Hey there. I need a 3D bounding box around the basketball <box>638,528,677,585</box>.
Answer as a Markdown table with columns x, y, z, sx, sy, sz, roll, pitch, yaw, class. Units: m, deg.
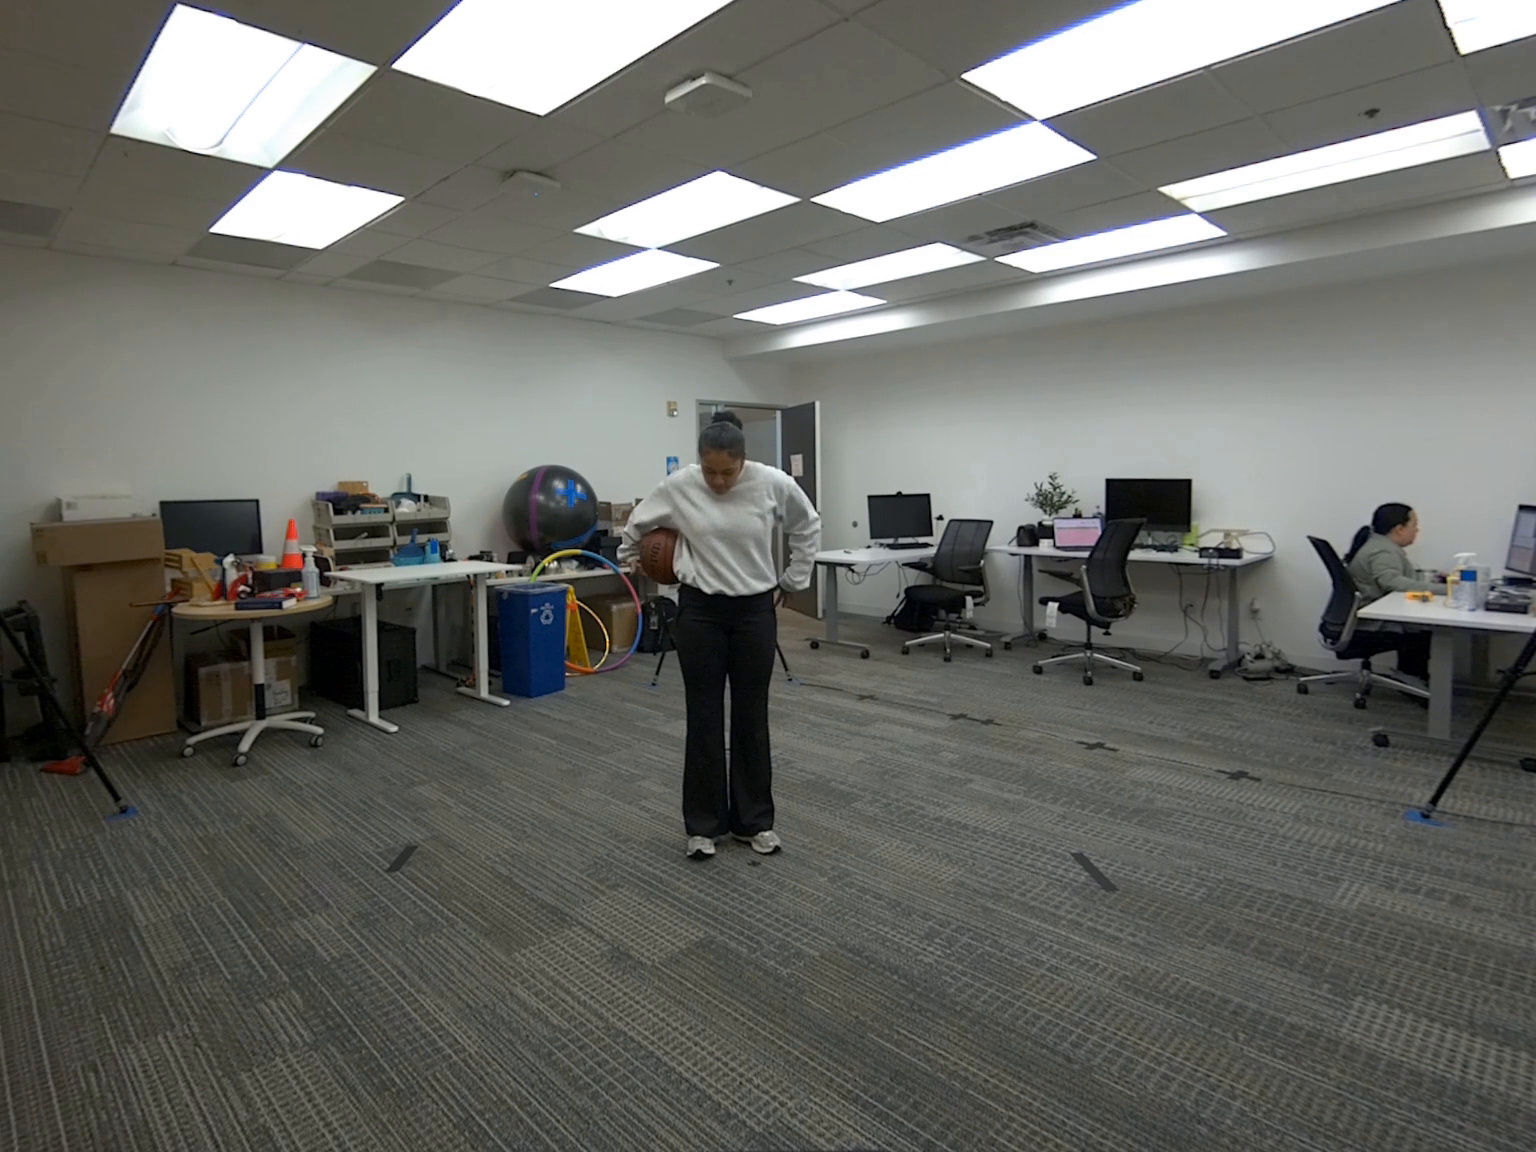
| x | y | z | sx | sy | sz | roll | pitch | yaw | class |
| --- | --- | --- | --- | --- | --- | --- | --- | --- | --- |
| -0.384 | -0.080 | 3.356 | 0.236 | 0.235 | 0.237 | -1 | 5 | -2 | basketball |
